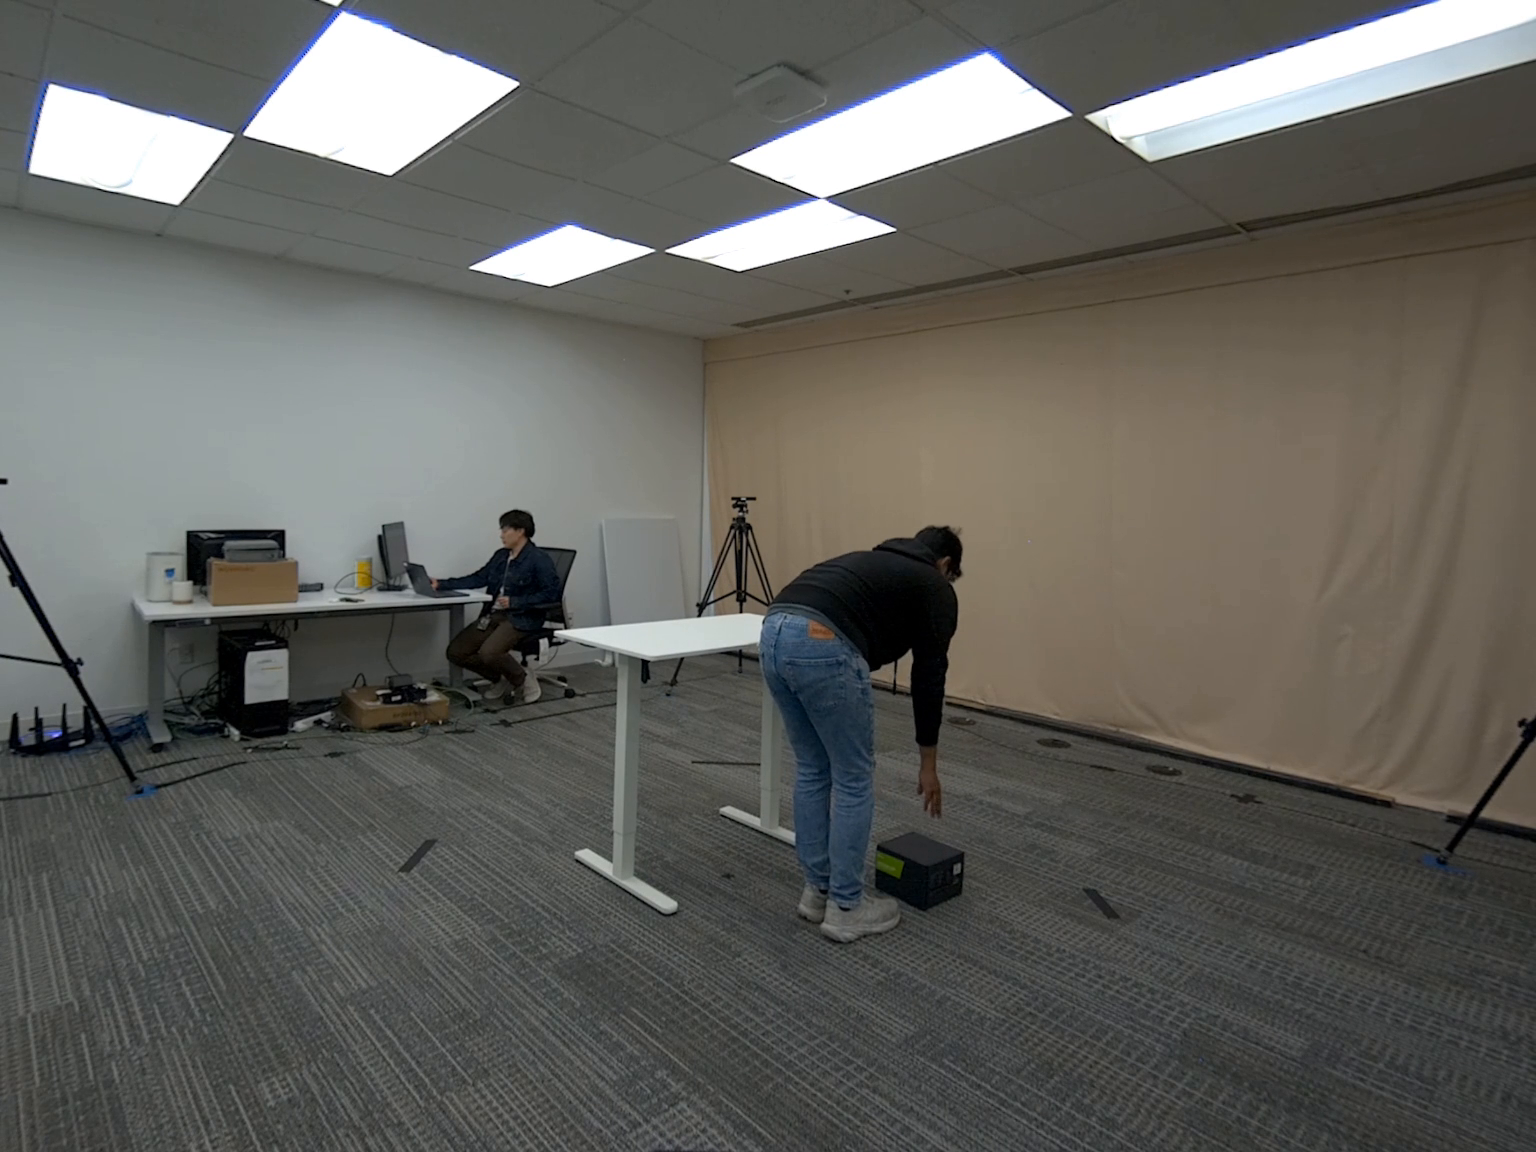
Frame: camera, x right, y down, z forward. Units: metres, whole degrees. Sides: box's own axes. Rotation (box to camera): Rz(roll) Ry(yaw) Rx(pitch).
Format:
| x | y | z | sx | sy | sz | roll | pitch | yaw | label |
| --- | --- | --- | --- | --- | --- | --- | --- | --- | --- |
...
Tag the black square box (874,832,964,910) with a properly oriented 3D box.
| x | y | z | sx | sy | sz | roll | pitch | yaw | label |
| --- | --- | --- | --- | --- | --- | --- | --- | --- | --- |
| 0.530 | 1.044 | 3.019 | 0.212 | 0.155 | 0.234 | -2 | 6 | -41 | black square box |
